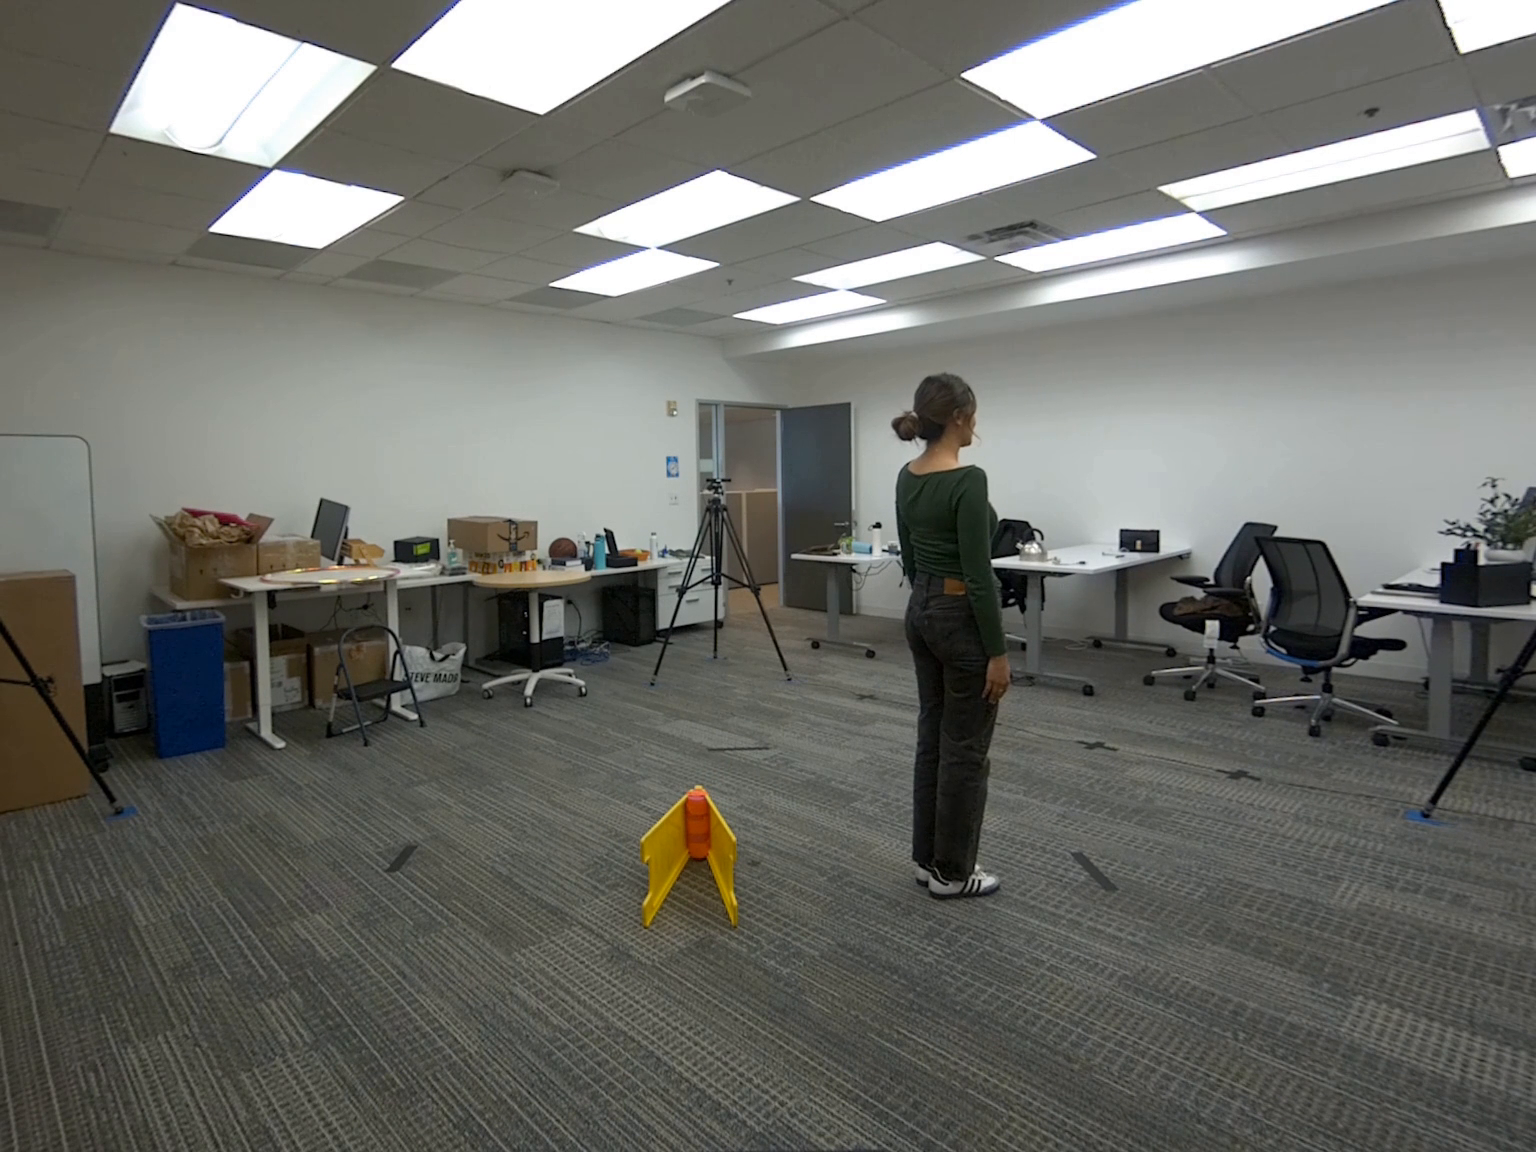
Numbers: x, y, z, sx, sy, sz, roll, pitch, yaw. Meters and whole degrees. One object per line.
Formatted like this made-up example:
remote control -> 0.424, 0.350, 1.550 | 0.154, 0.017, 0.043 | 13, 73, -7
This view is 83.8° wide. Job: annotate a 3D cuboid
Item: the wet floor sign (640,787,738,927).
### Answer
wet floor sign -> -0.255, 0.928, 2.988 | 0.289, 0.281, 0.648 | -2, 4, -2
